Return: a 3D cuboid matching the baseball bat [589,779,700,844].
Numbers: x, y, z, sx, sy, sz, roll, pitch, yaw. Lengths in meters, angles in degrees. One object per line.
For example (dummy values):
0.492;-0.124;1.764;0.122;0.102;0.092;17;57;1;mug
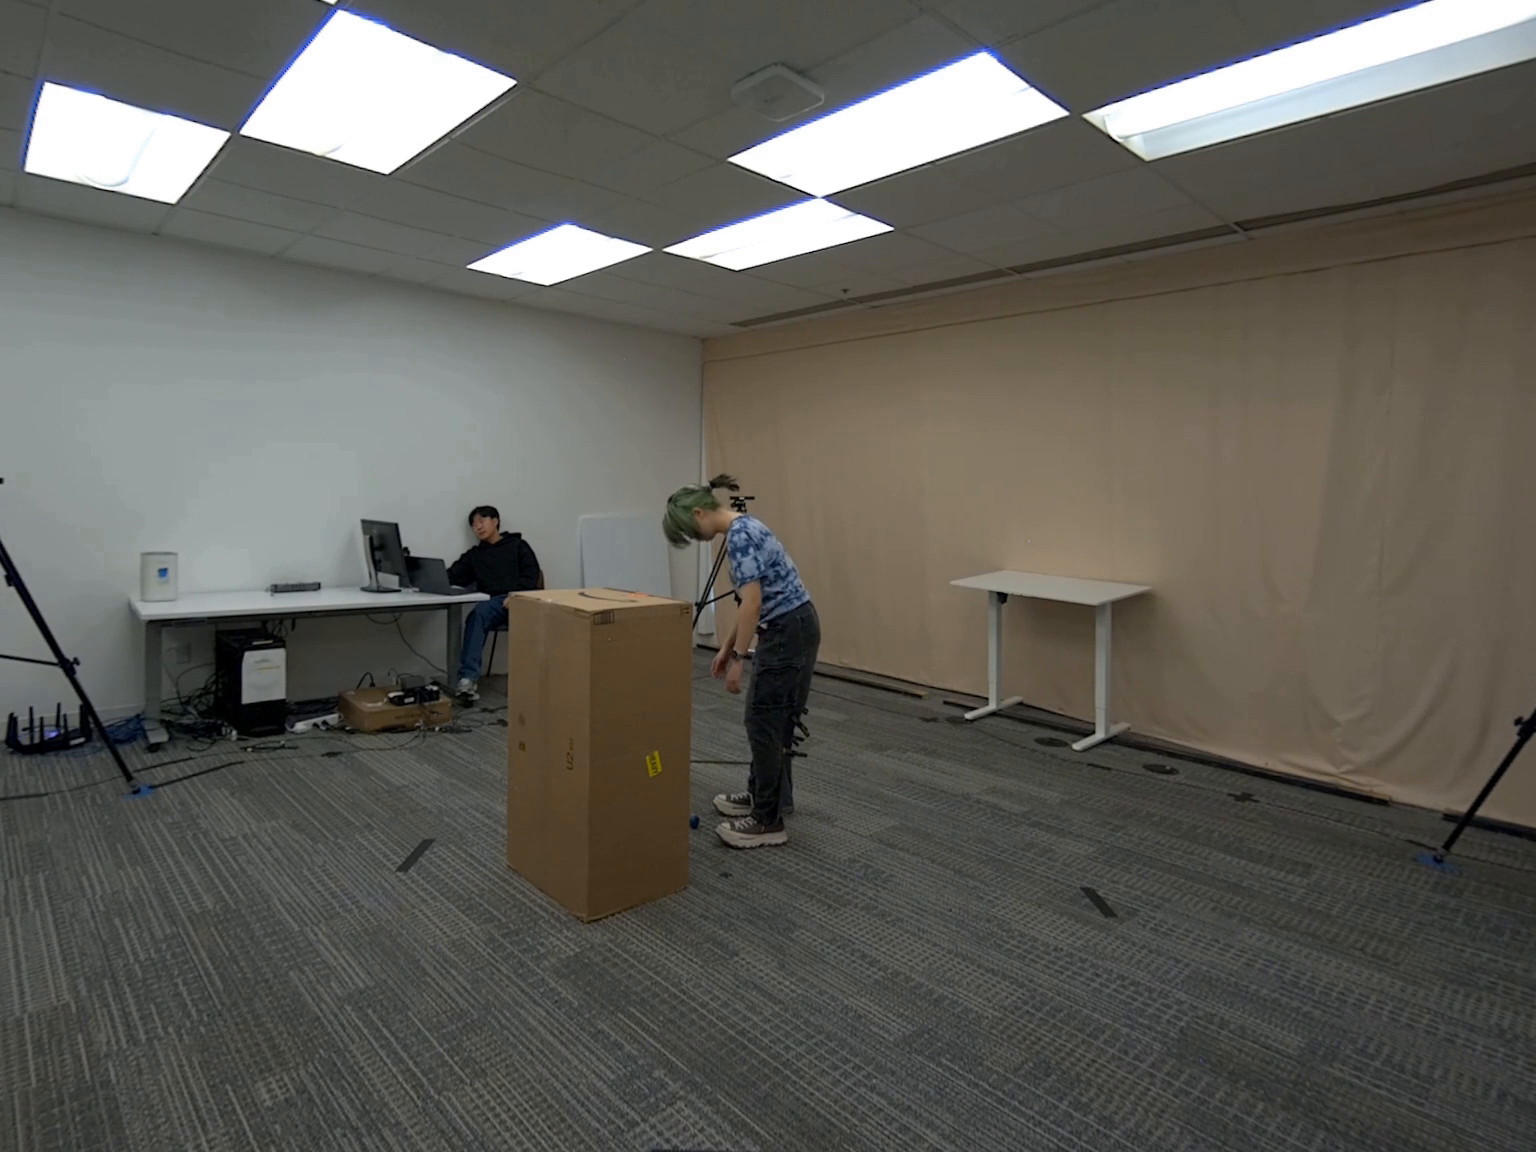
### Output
-0.549;1.018;3.690;0.556;0.088;0.087;10;8;32;baseball bat
